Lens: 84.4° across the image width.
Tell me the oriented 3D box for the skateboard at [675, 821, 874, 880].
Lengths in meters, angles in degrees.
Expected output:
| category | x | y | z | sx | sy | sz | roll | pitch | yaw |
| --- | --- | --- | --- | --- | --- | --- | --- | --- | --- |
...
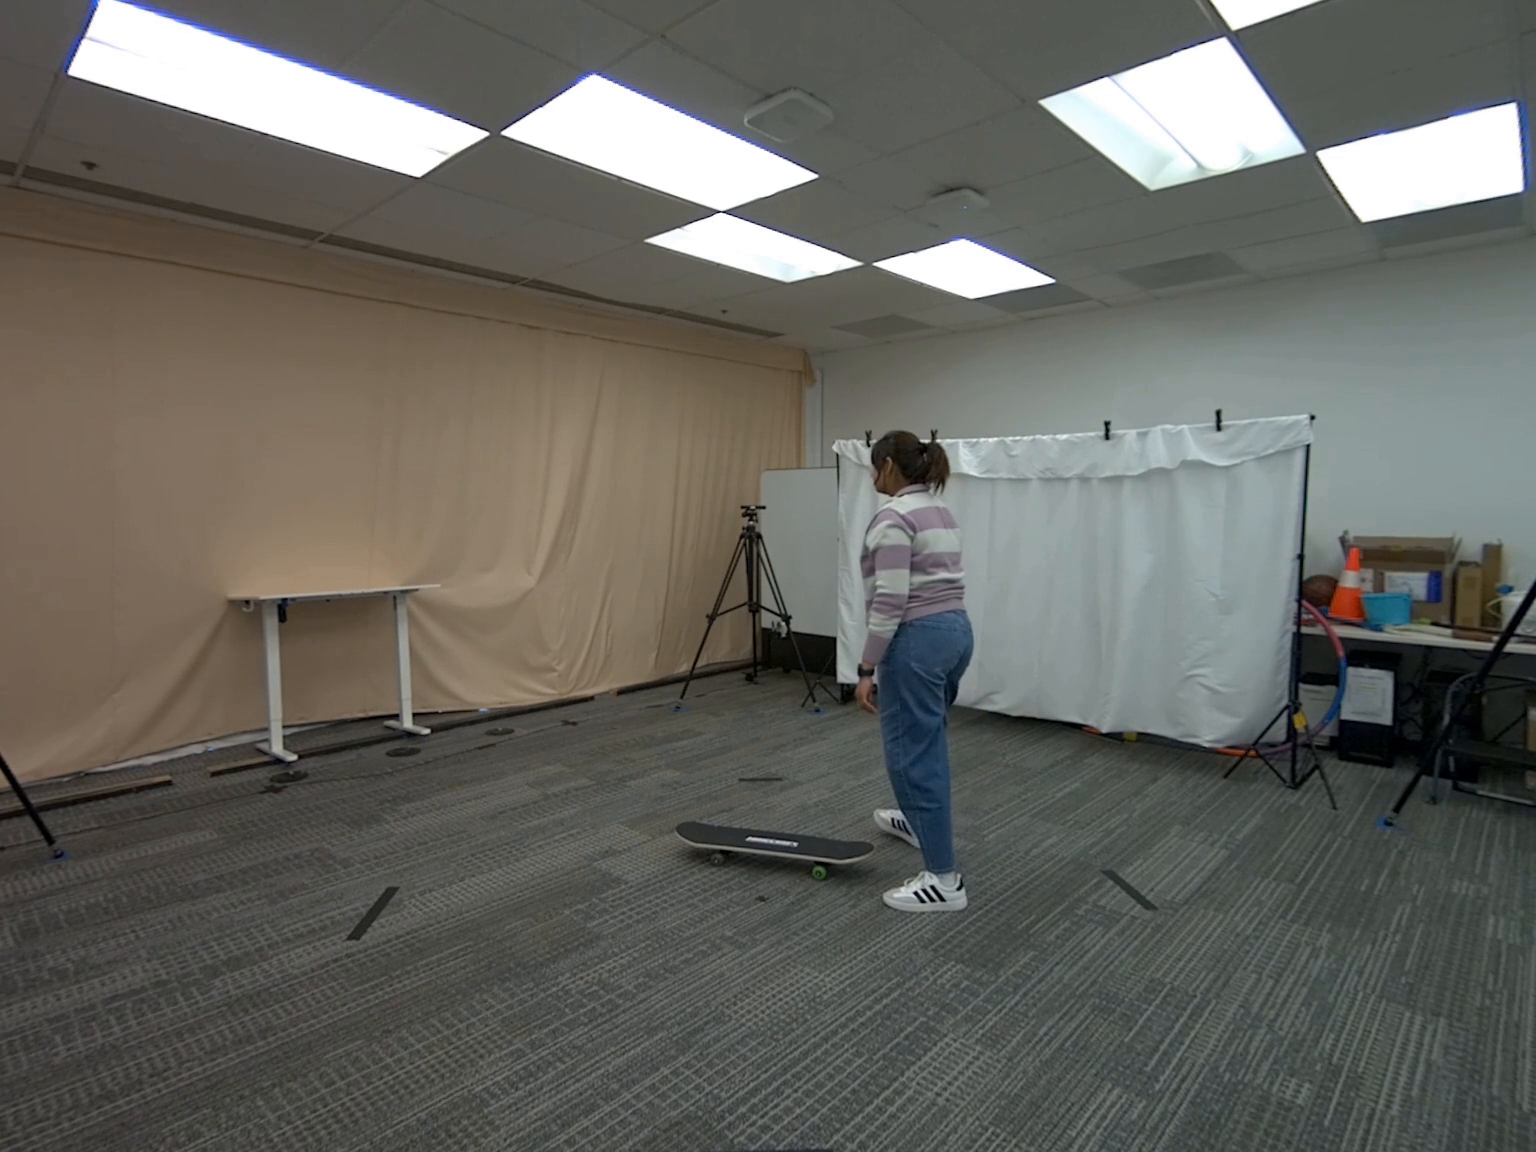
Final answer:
| category | x | y | z | sx | sy | sz | roll | pitch | yaw |
| --- | --- | --- | --- | --- | --- | --- | --- | --- | --- |
| skateboard | 0.019 | 1.059 | 3.264 | 0.799 | 0.110 | 0.191 | 1 | 5 | 16 |
